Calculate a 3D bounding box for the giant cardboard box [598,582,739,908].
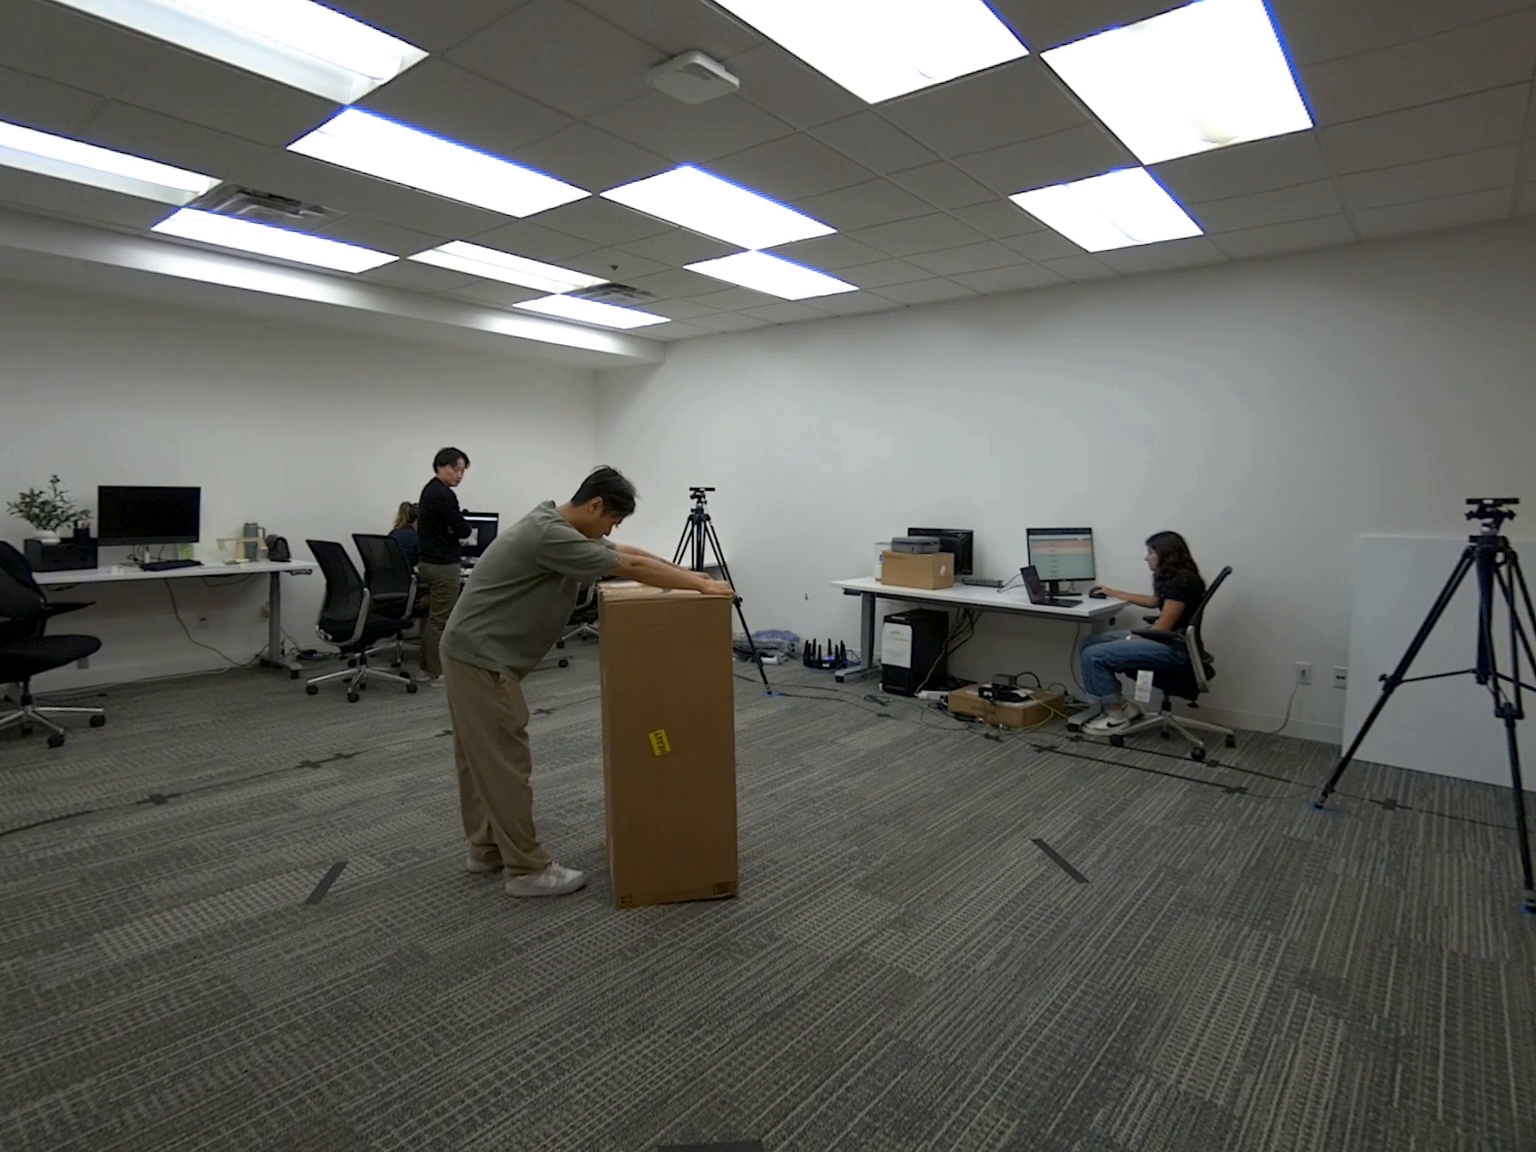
[{"bbox_3d":[-0.390,0.546,3.093,0.421,1.023,0.587,-2,4,-13],"label":"giant cardboard box"}]
